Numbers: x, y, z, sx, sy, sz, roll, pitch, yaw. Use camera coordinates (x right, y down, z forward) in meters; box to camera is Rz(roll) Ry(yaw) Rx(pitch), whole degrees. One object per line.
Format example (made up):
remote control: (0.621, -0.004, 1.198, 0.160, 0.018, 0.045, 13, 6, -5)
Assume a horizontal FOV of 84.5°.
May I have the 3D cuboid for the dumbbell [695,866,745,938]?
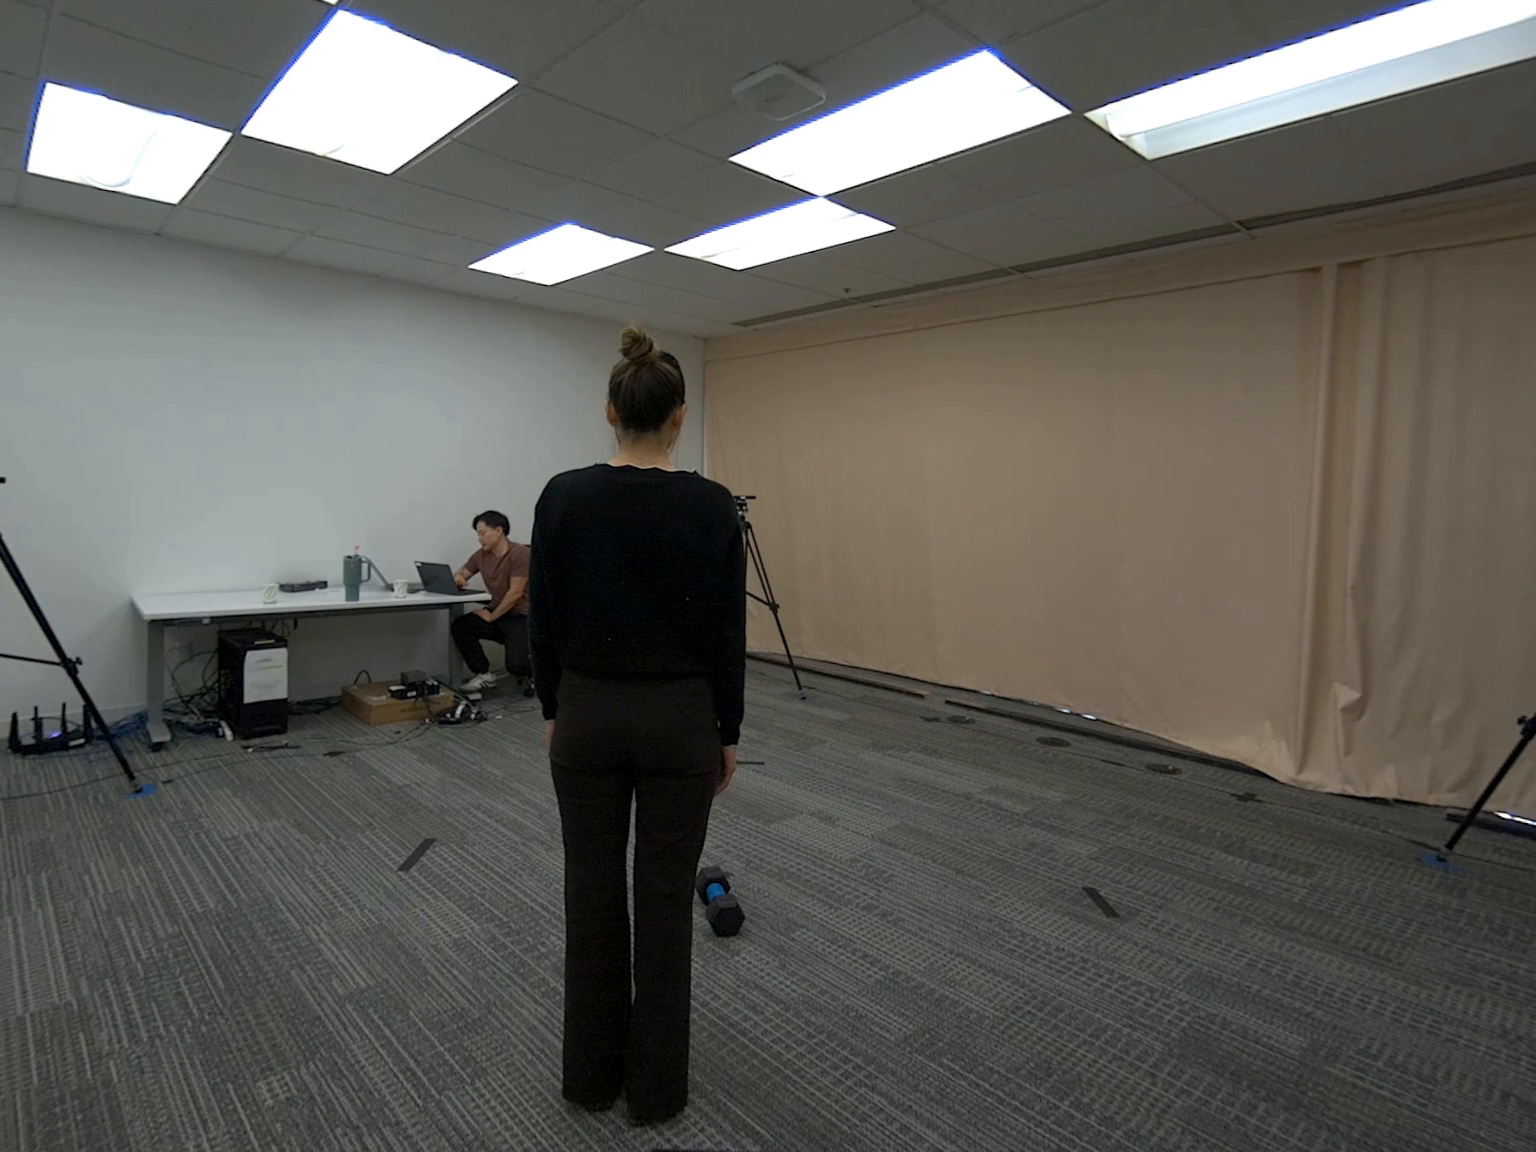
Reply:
dumbbell: (-0.172, 1.080, 2.795, 0.107, 0.123, 0.297, 30, -2, -15)
